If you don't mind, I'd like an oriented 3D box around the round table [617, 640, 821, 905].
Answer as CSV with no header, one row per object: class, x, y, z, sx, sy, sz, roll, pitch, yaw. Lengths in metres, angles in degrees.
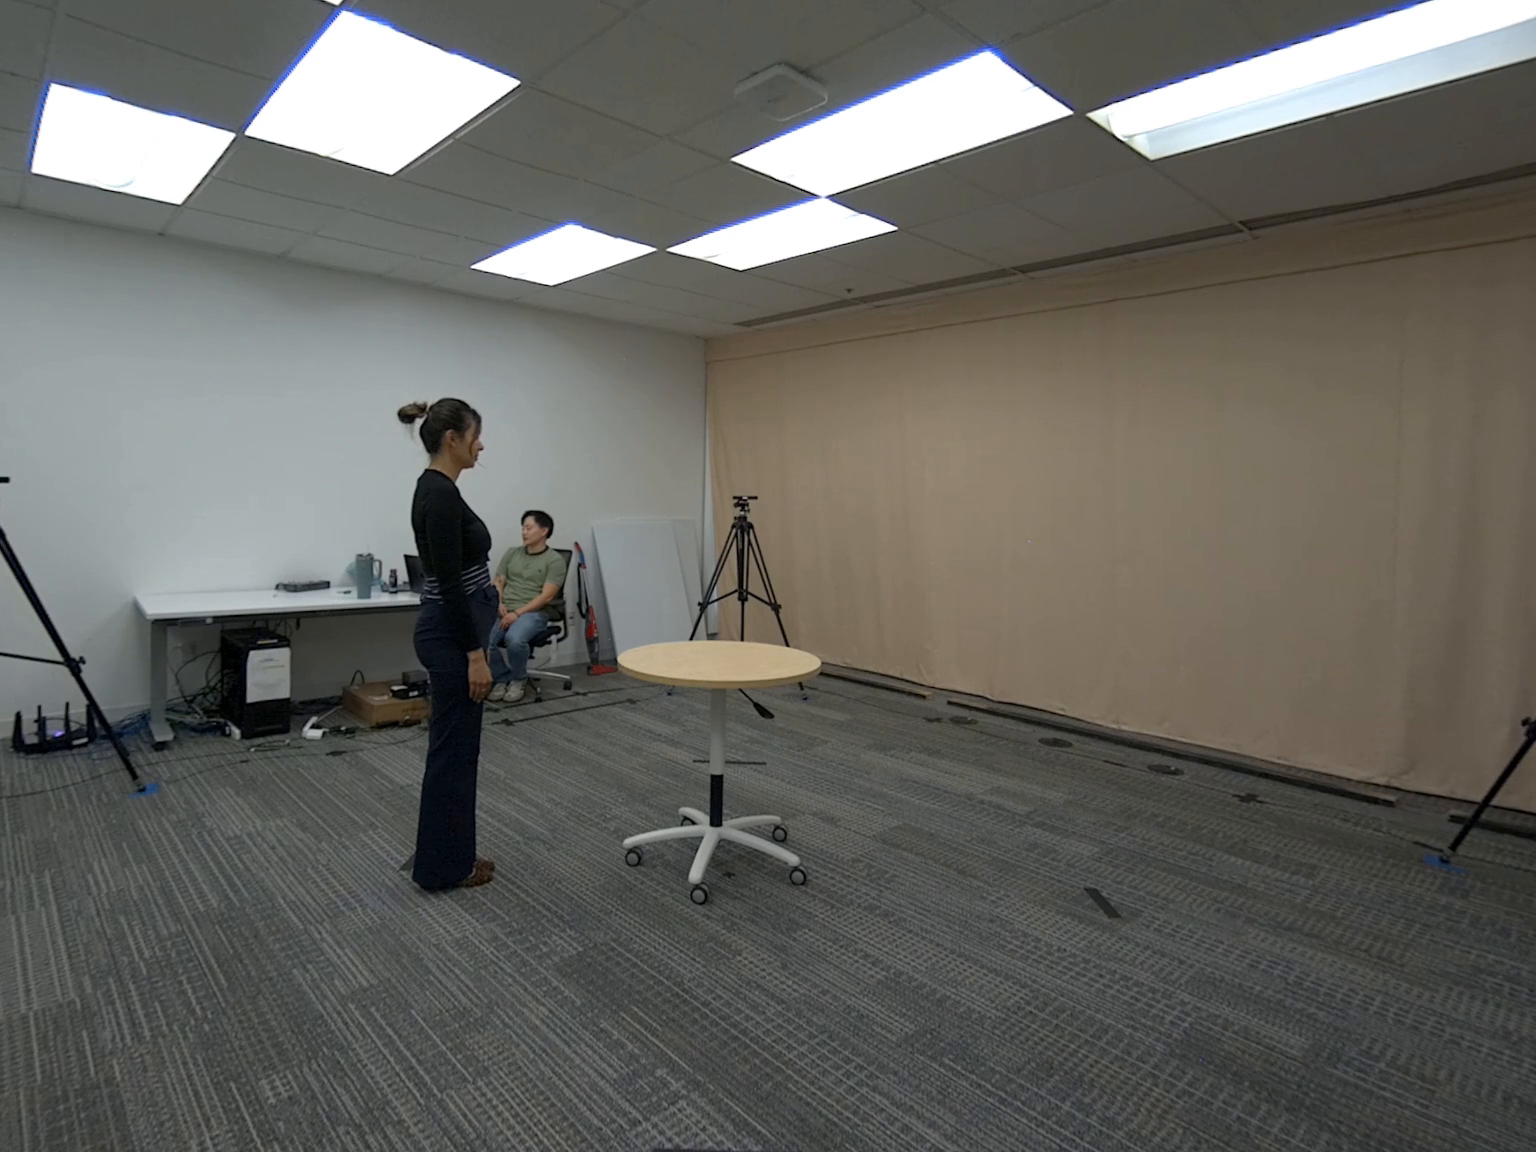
round table,-0.199,0.707,3.195,0.763,0.792,0.767,1,4,-1
